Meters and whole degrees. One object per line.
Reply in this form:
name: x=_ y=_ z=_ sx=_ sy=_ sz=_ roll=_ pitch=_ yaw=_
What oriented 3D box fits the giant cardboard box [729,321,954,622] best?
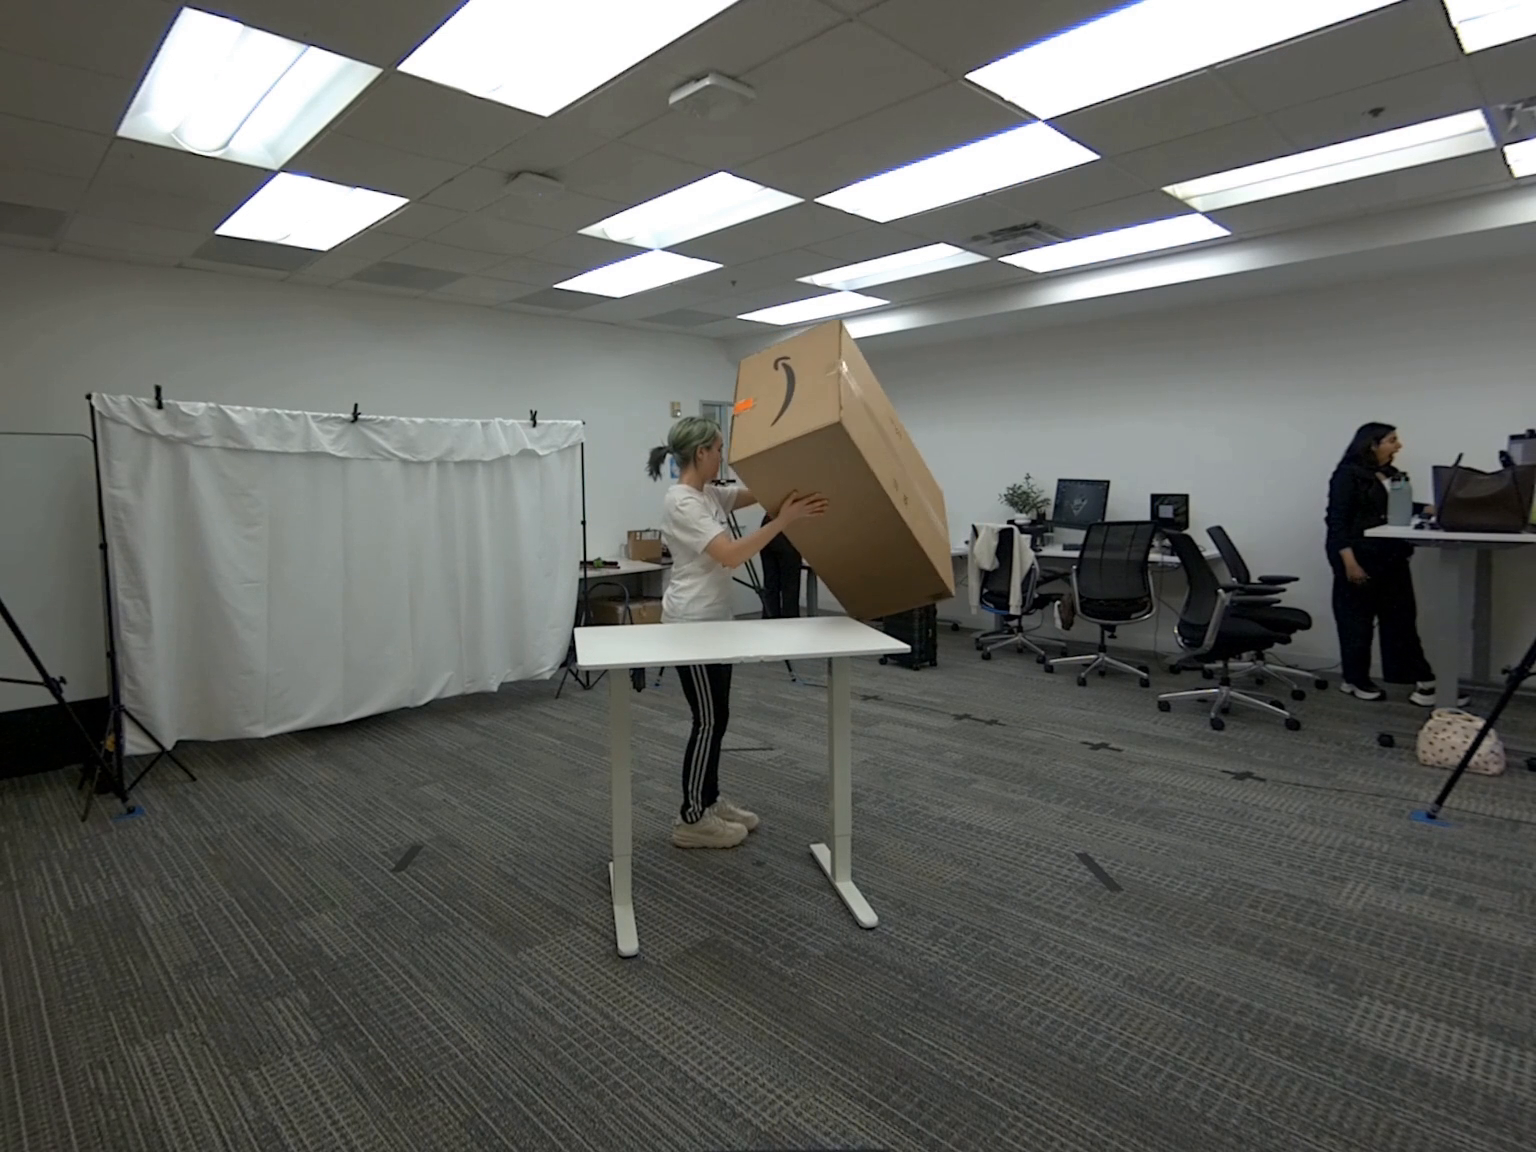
giant cardboard box: x=0.305 y=-0.362 z=3.286 sx=0.453 sy=0.598 sz=0.988 roll=-19 pitch=-45 yaw=24
